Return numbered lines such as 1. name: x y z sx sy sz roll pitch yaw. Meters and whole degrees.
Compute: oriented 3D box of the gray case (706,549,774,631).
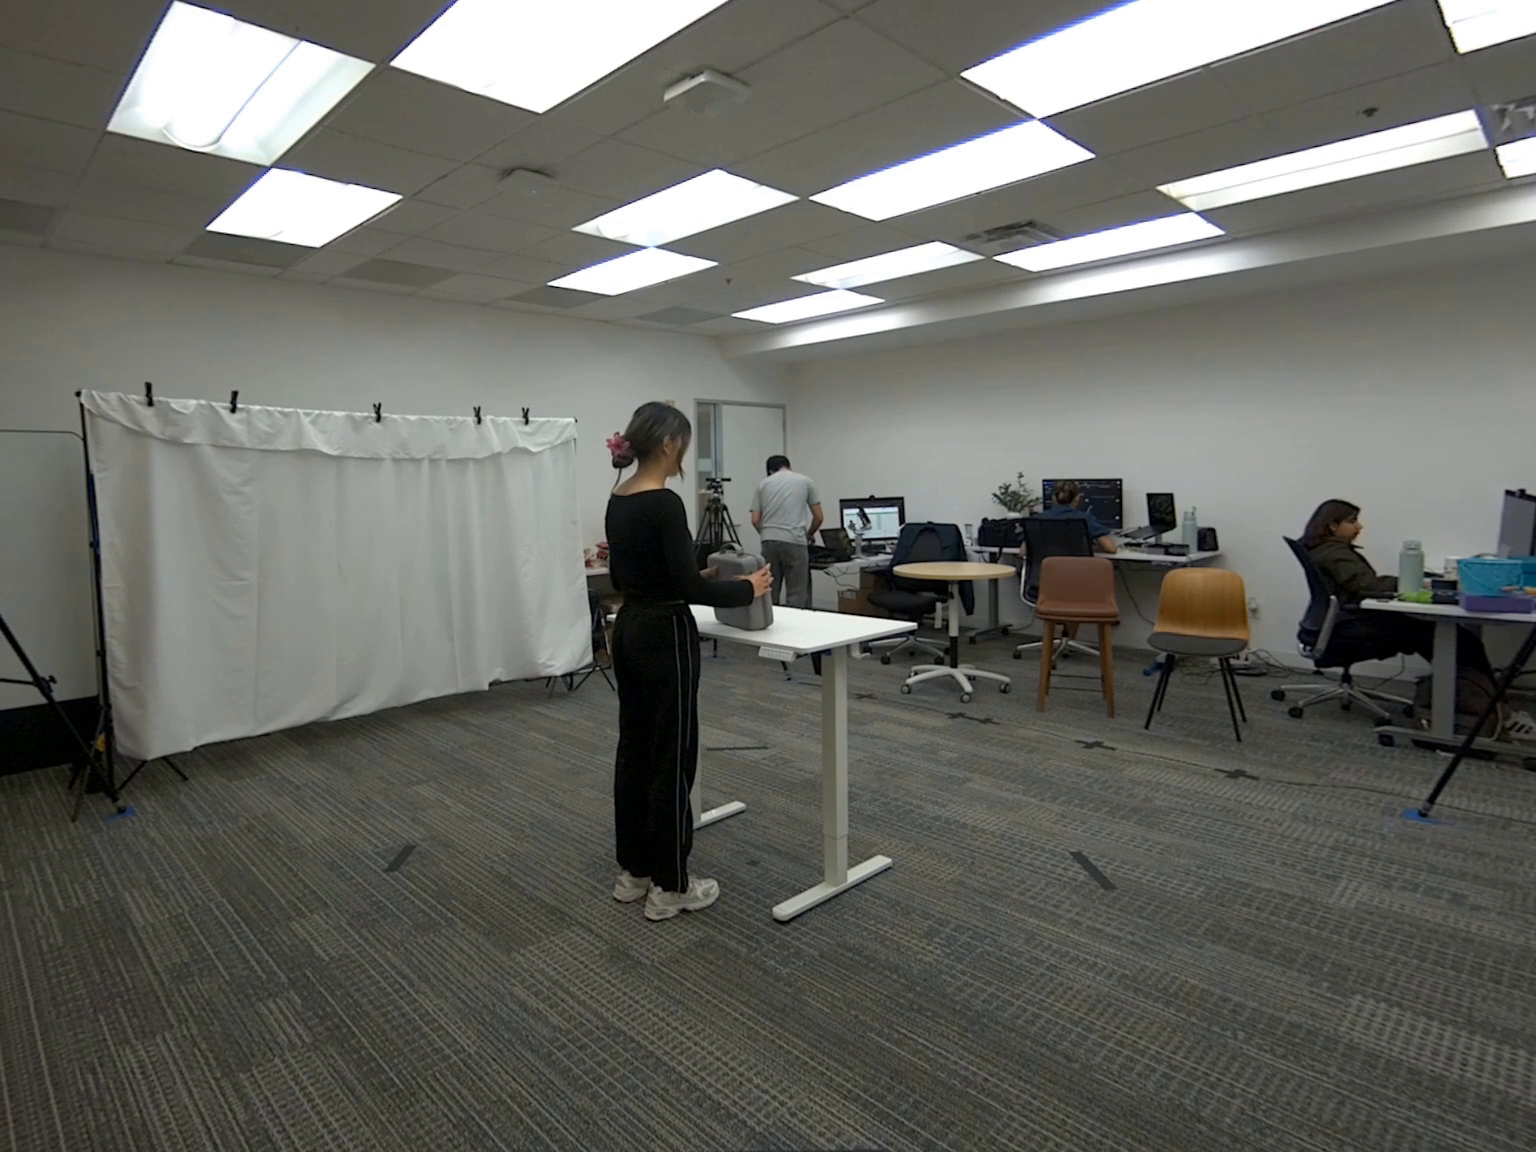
1. gray case: -0.095 0.046 2.952 0.102 0.258 0.264 -11 11 -29
